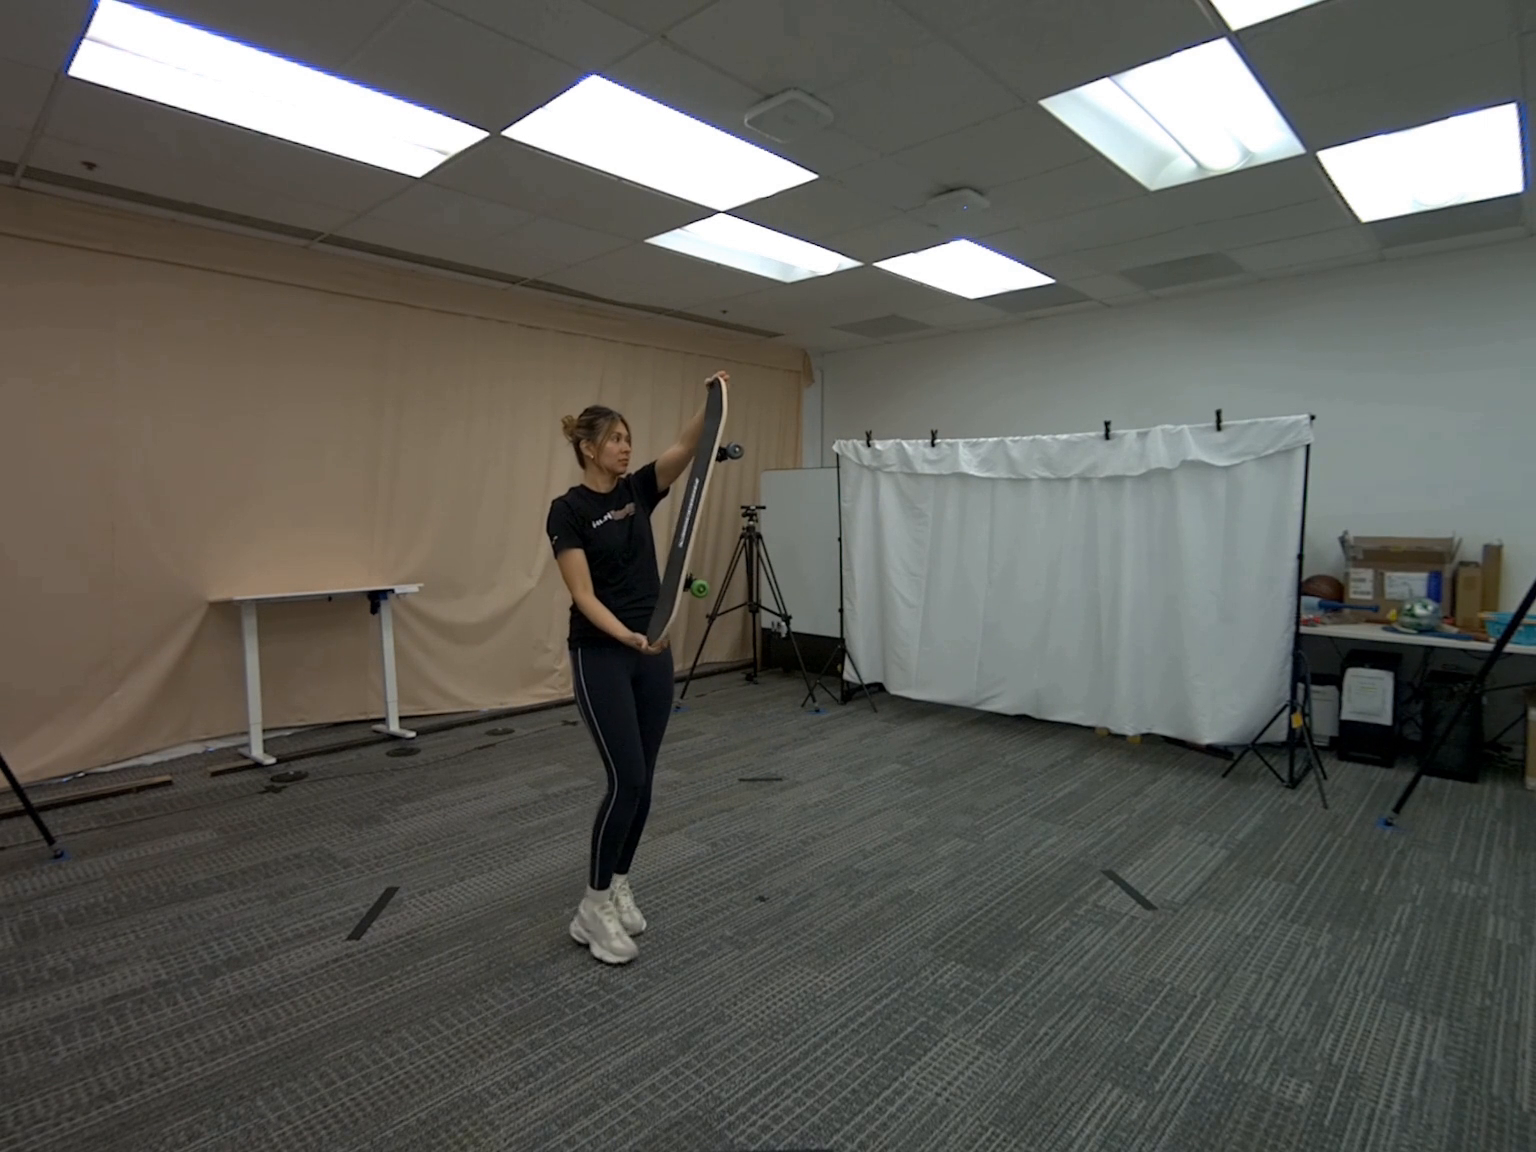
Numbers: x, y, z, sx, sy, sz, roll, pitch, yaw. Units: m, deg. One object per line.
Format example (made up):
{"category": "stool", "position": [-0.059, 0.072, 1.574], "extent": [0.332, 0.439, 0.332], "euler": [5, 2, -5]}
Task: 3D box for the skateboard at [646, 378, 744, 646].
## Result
{"category": "skateboard", "position": [-0.193, -0.171, 2.401], "extent": [0.108, 0.785, 0.198], "euler": [15, 0, -20]}
